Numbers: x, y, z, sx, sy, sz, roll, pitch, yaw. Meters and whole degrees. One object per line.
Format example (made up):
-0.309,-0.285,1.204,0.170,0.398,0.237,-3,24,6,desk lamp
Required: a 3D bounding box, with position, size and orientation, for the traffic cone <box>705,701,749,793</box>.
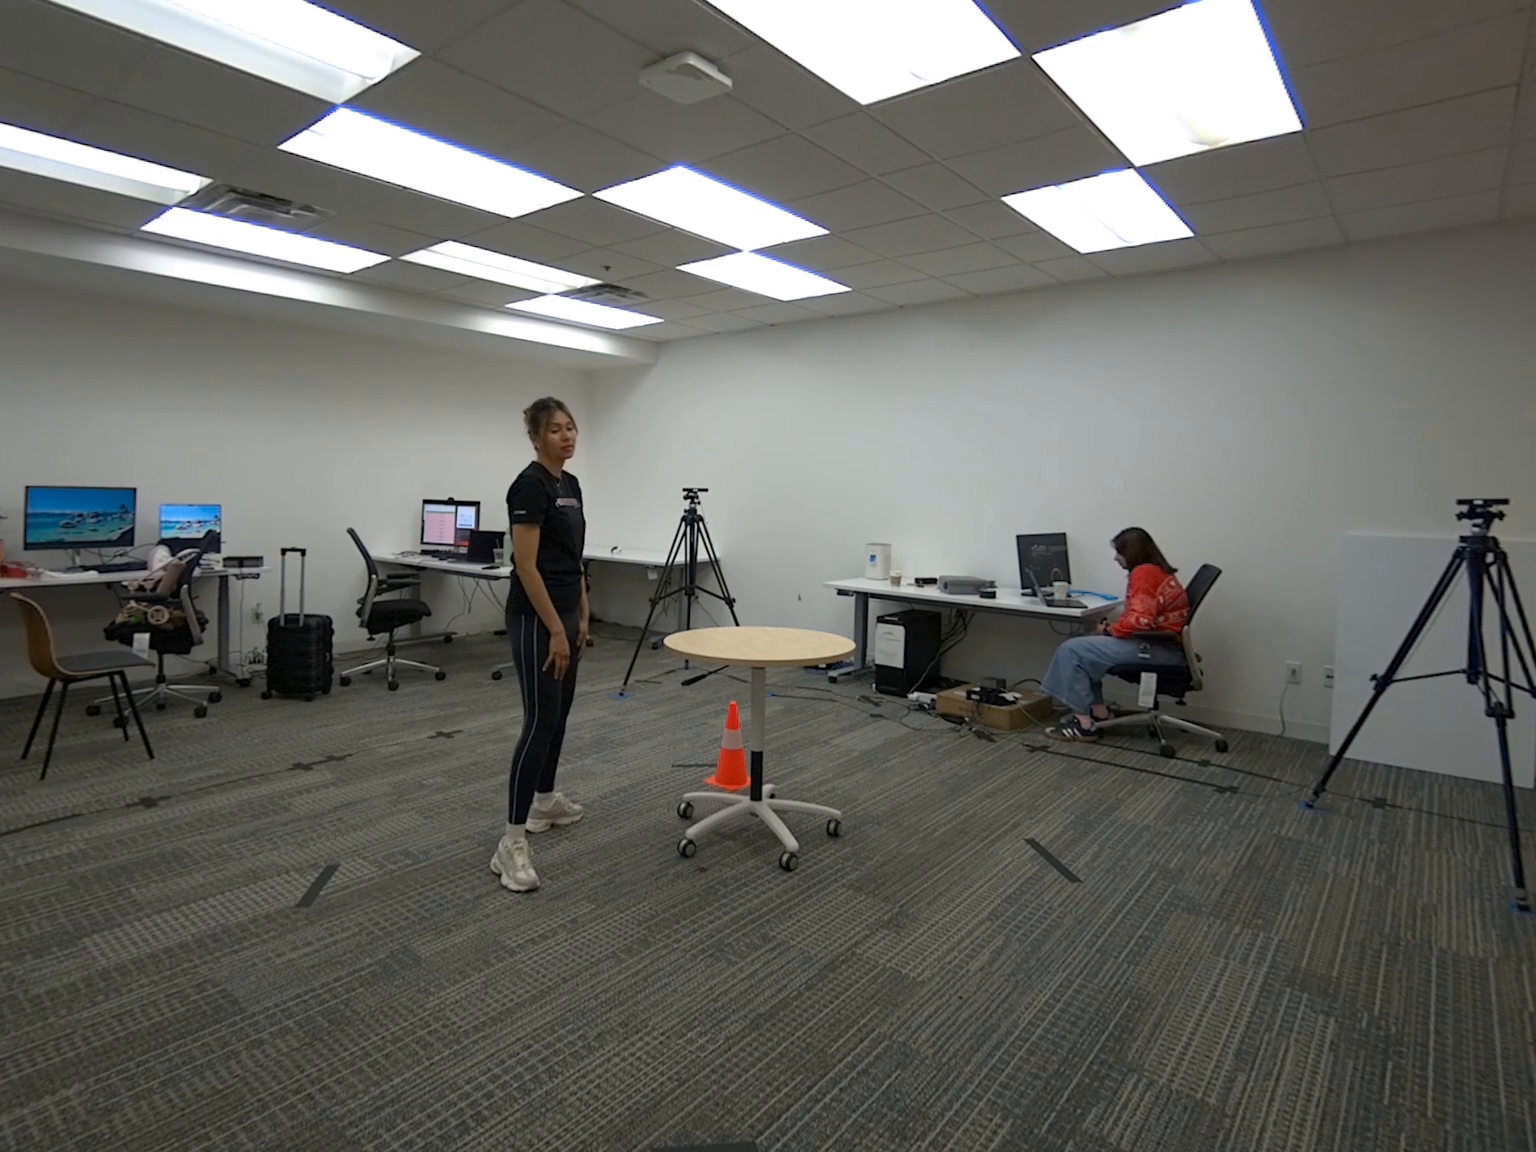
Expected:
-0.187,0.794,4.074,0.197,0.383,0.212,0,3,-42,traffic cone
